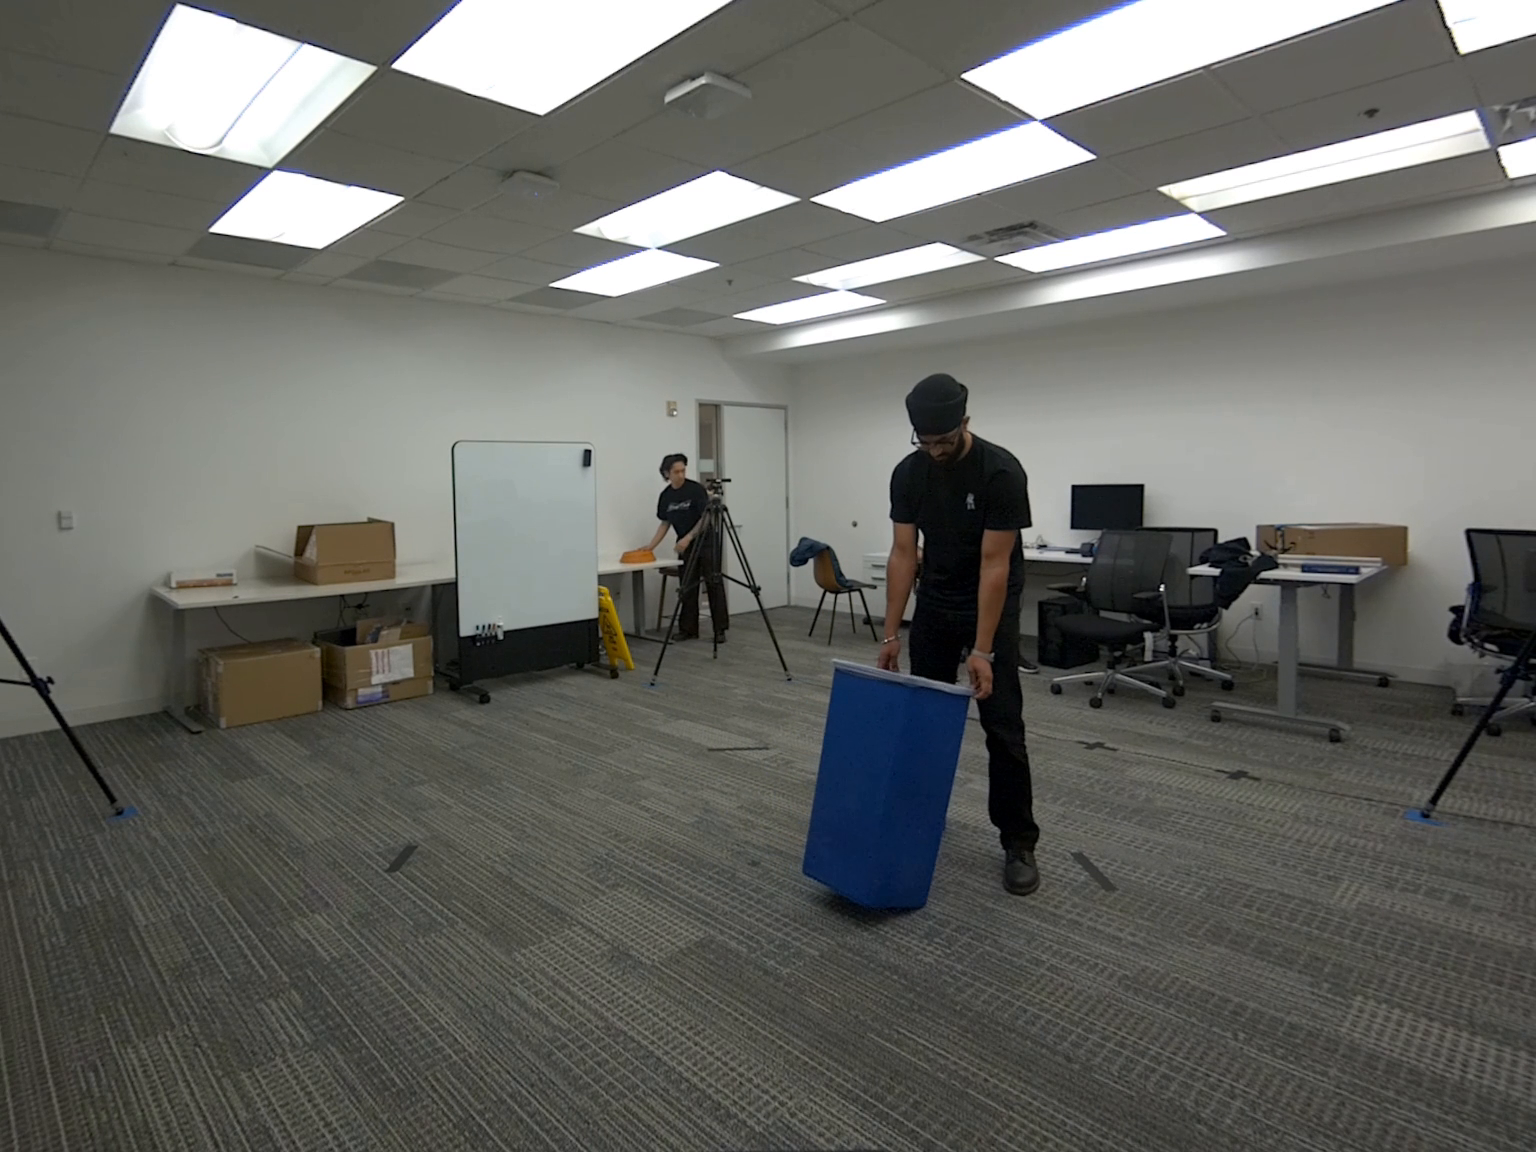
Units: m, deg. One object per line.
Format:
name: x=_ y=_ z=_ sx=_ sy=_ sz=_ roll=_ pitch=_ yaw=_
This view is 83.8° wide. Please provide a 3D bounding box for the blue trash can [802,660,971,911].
blue trash can: x=0.392 y=0.683 z=2.852 sx=0.361 sy=0.717 sz=0.390 roll=16 pitch=-8 yaw=-40
